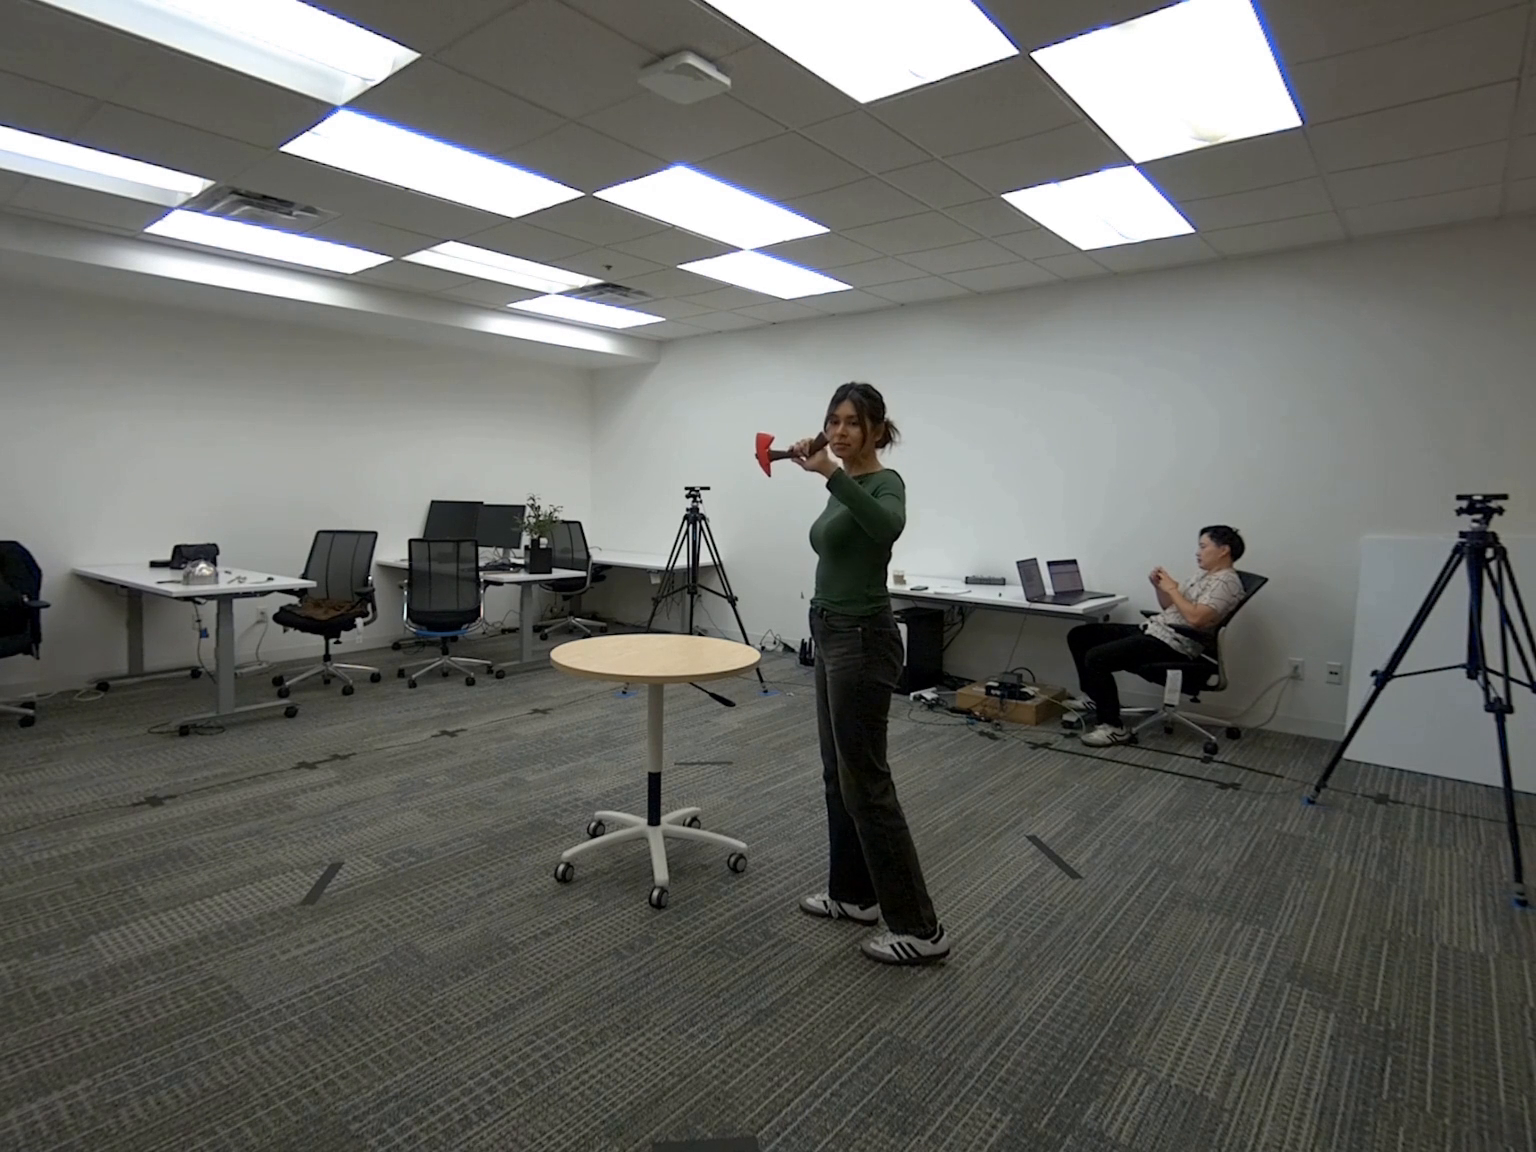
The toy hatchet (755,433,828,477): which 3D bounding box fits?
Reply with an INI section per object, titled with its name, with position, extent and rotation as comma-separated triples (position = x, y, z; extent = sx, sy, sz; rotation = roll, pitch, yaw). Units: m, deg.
[toy hatchet]
position = 0.046, -0.384, 2.394
extent = 0.029, 0.131, 0.274
rotation = -25, 1, -42
